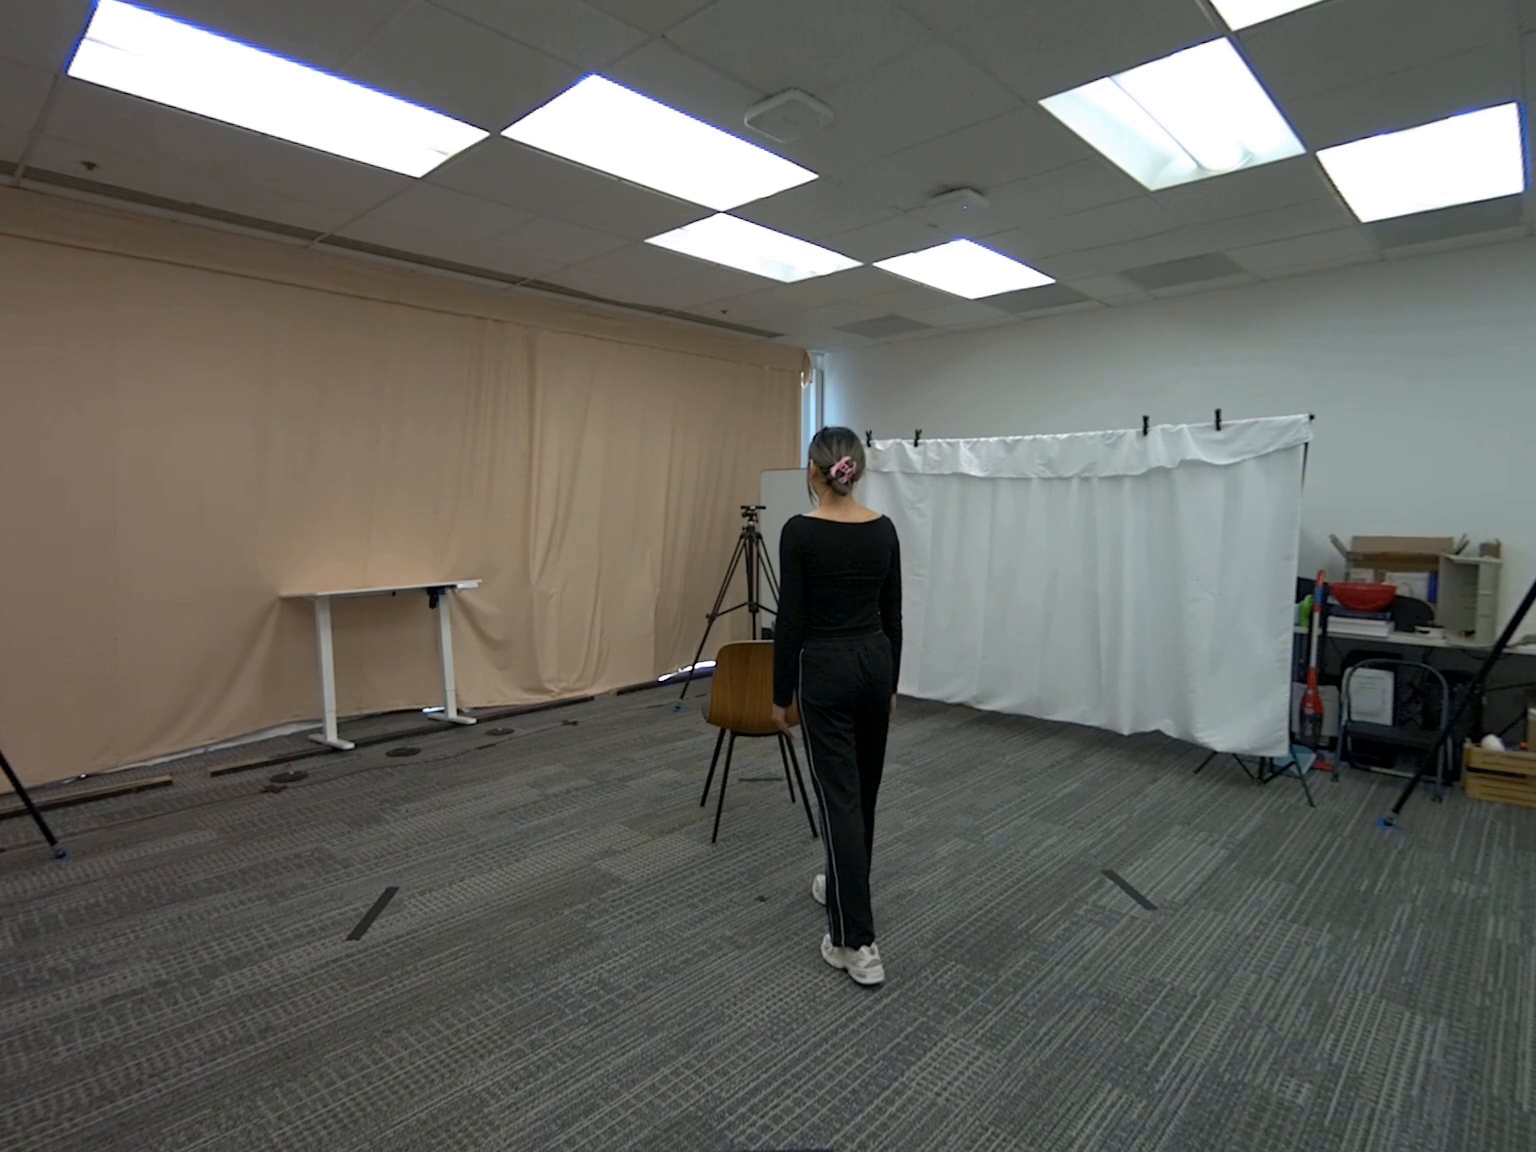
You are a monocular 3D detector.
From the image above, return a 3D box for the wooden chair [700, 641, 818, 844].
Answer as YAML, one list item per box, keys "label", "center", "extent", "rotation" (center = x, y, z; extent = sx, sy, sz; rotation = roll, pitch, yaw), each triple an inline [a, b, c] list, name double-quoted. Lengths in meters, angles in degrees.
- label: "wooden chair"
  center: [-0.056, 0.657, 3.704]
  extent: [0.474, 0.874, 0.530]
  rotation: [-1, 7, -9]
